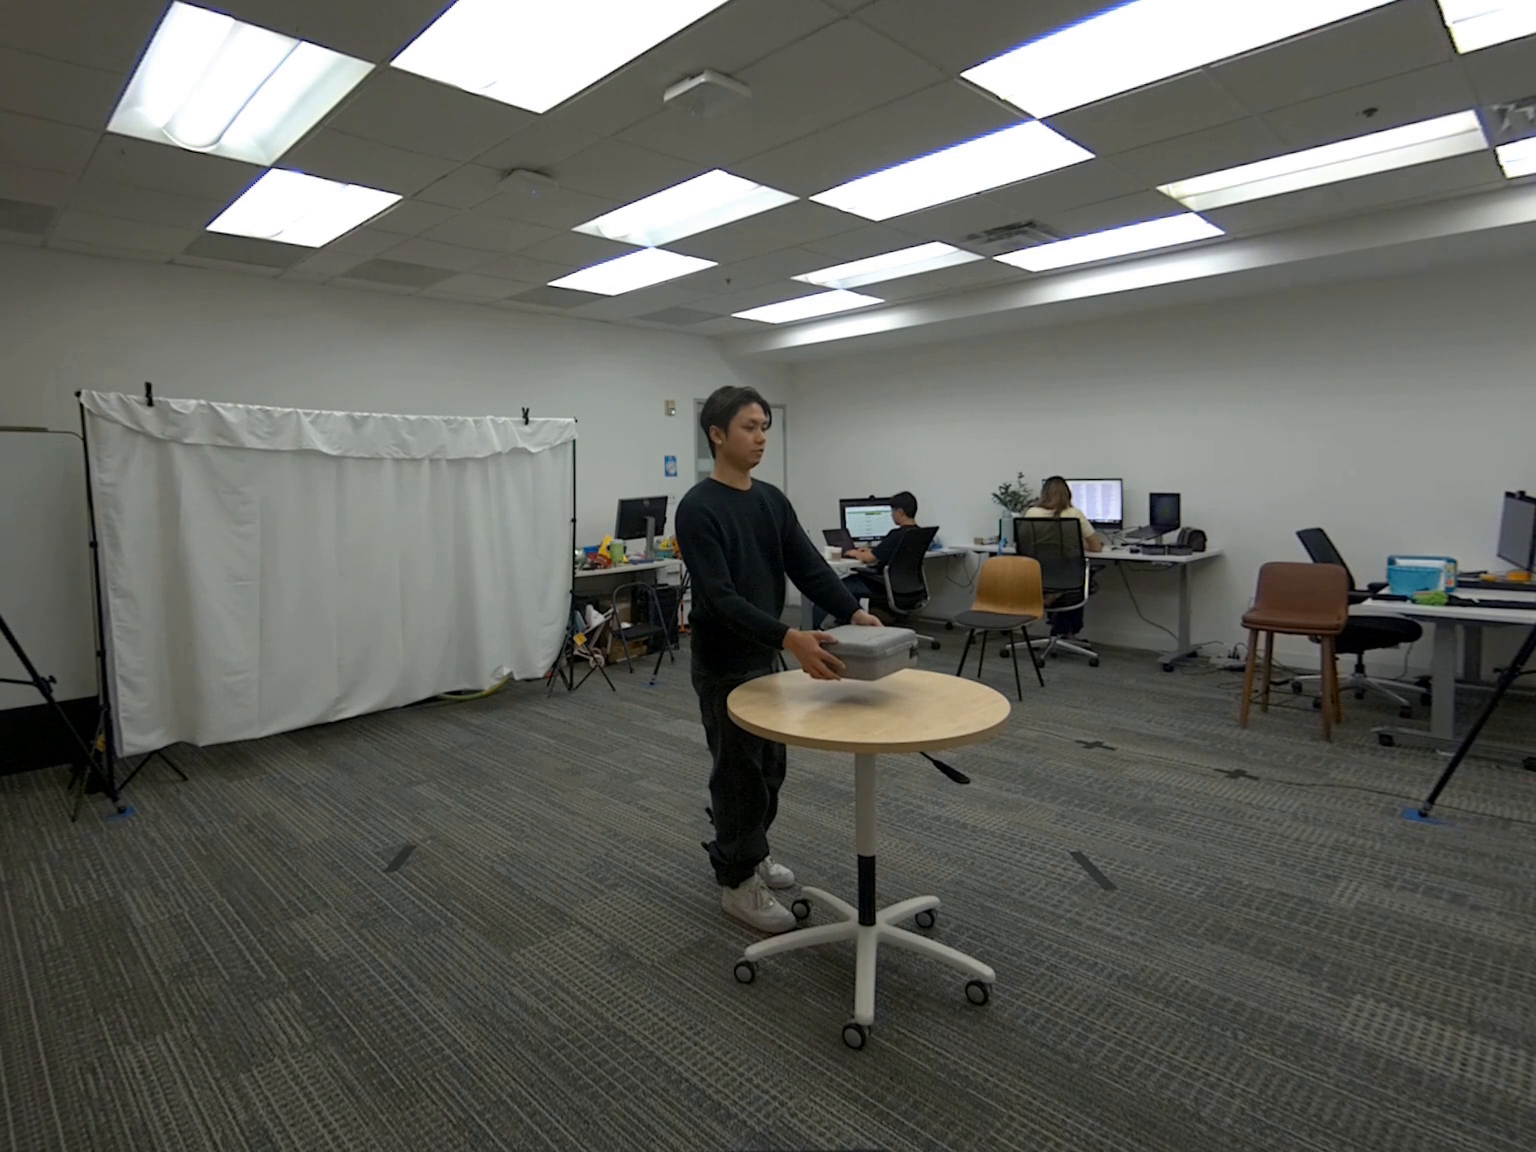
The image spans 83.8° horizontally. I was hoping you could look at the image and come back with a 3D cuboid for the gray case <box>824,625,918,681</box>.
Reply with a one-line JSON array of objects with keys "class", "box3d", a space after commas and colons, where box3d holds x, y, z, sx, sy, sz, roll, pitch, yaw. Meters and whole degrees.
[{"class": "gray case", "box3d": [0.265, 0.213, 2.384, 0.268, 0.104, 0.251, 2, 9, 41]}]
